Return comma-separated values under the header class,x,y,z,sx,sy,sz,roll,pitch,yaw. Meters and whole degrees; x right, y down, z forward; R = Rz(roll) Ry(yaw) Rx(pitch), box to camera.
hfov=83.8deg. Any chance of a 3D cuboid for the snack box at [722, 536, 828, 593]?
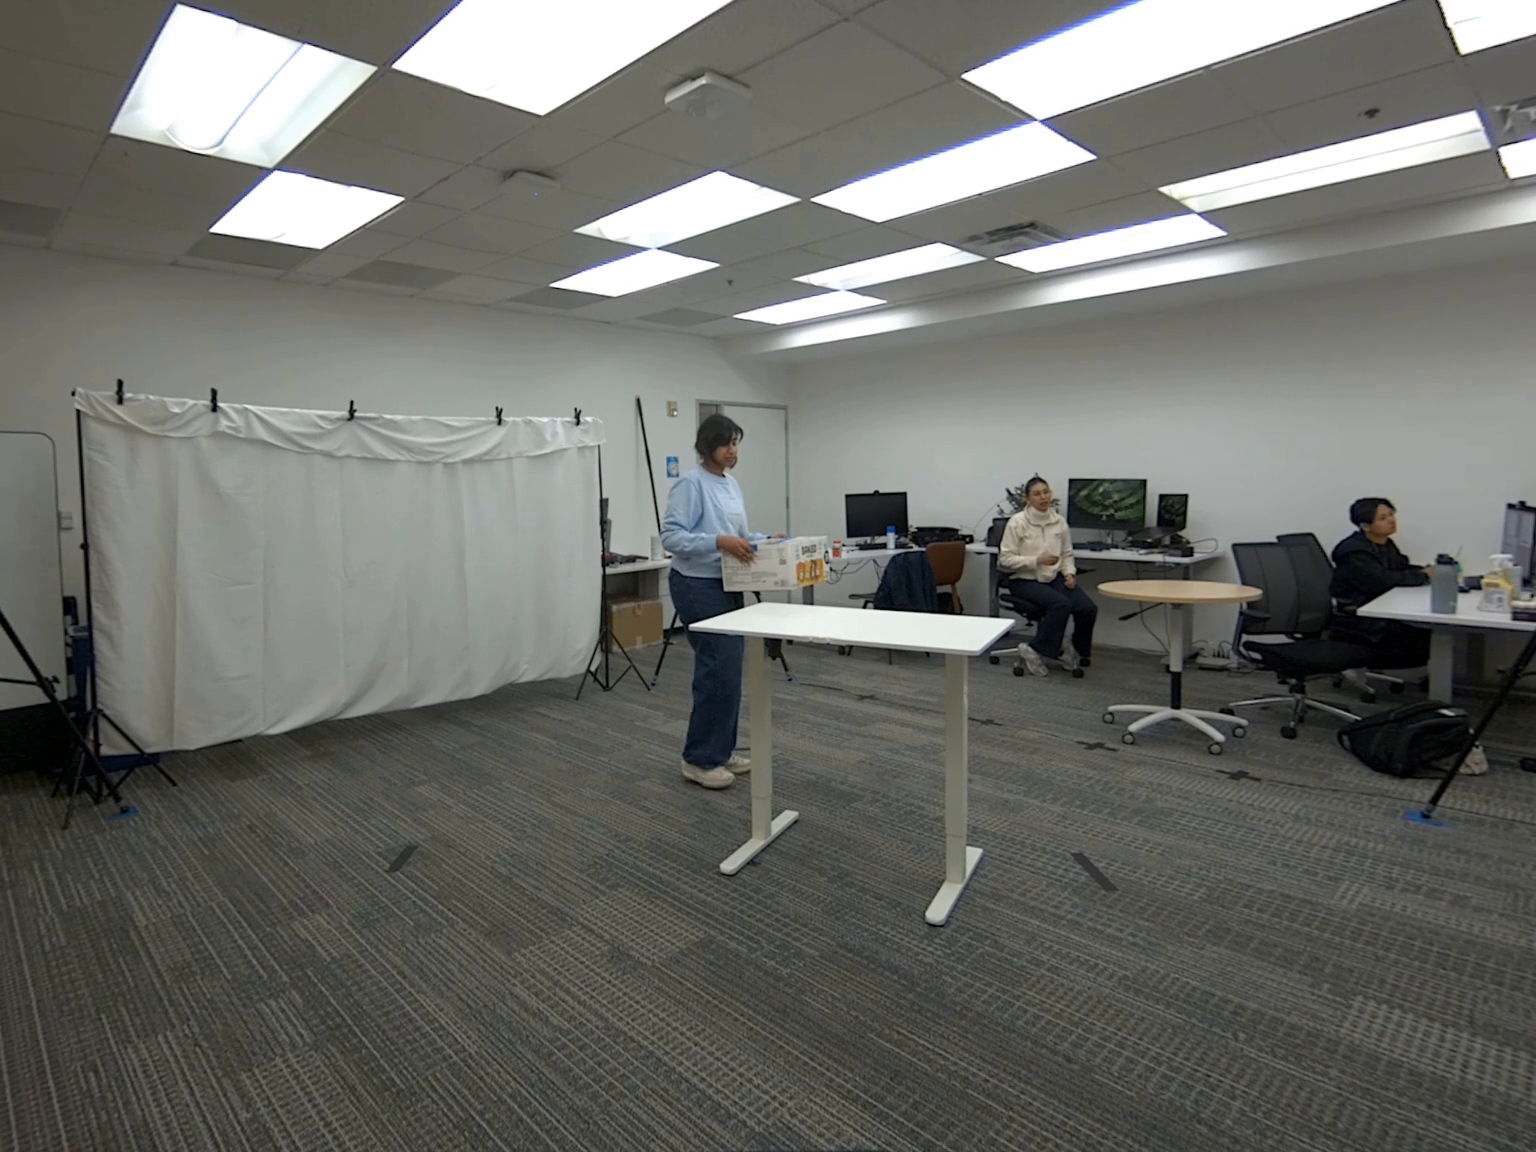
class,x,y,z,sx,sy,sz,roll,pitch,yaw
snack box,0.038,-0.057,3.871,0.349,0.205,0.397,-3,5,31
